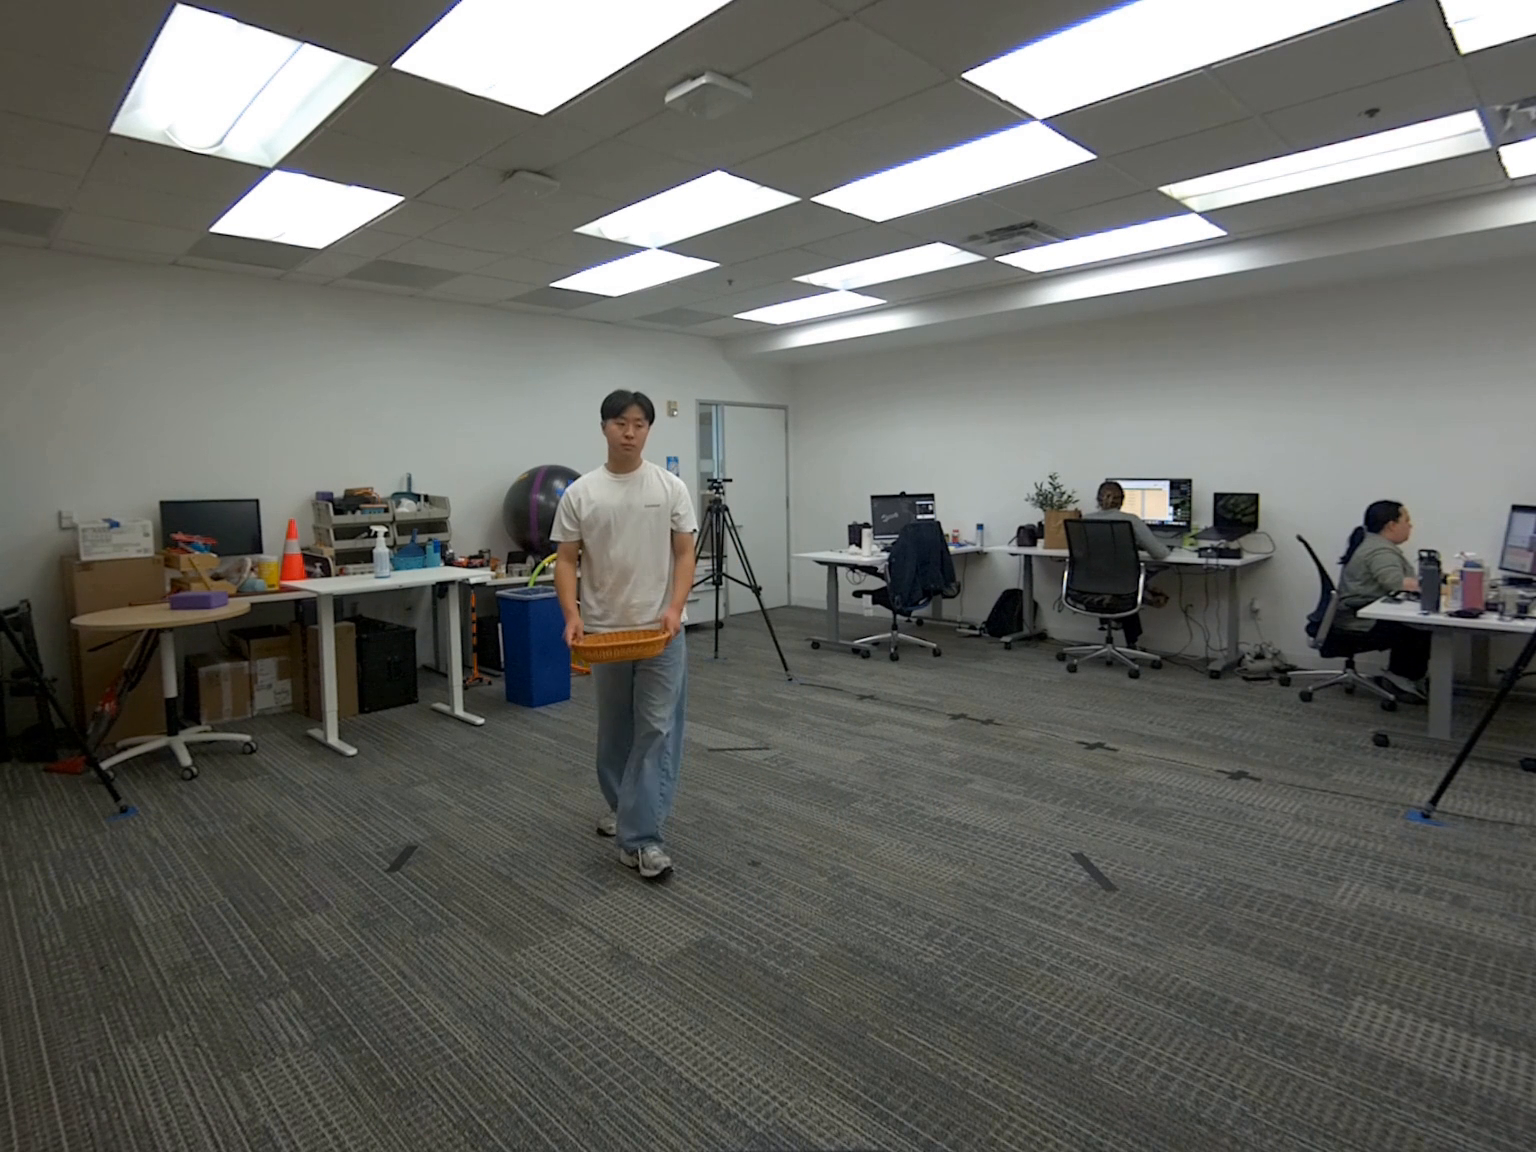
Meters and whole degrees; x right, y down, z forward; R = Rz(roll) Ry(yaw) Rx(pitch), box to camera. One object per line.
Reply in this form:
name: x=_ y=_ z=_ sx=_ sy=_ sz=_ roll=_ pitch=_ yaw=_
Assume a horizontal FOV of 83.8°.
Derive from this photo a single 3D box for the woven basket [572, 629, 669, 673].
woven basket: x=-0.544 y=0.255 z=3.024 sx=0.349 sy=0.073 sz=0.254 roll=-5 pitch=5 yaw=-5
